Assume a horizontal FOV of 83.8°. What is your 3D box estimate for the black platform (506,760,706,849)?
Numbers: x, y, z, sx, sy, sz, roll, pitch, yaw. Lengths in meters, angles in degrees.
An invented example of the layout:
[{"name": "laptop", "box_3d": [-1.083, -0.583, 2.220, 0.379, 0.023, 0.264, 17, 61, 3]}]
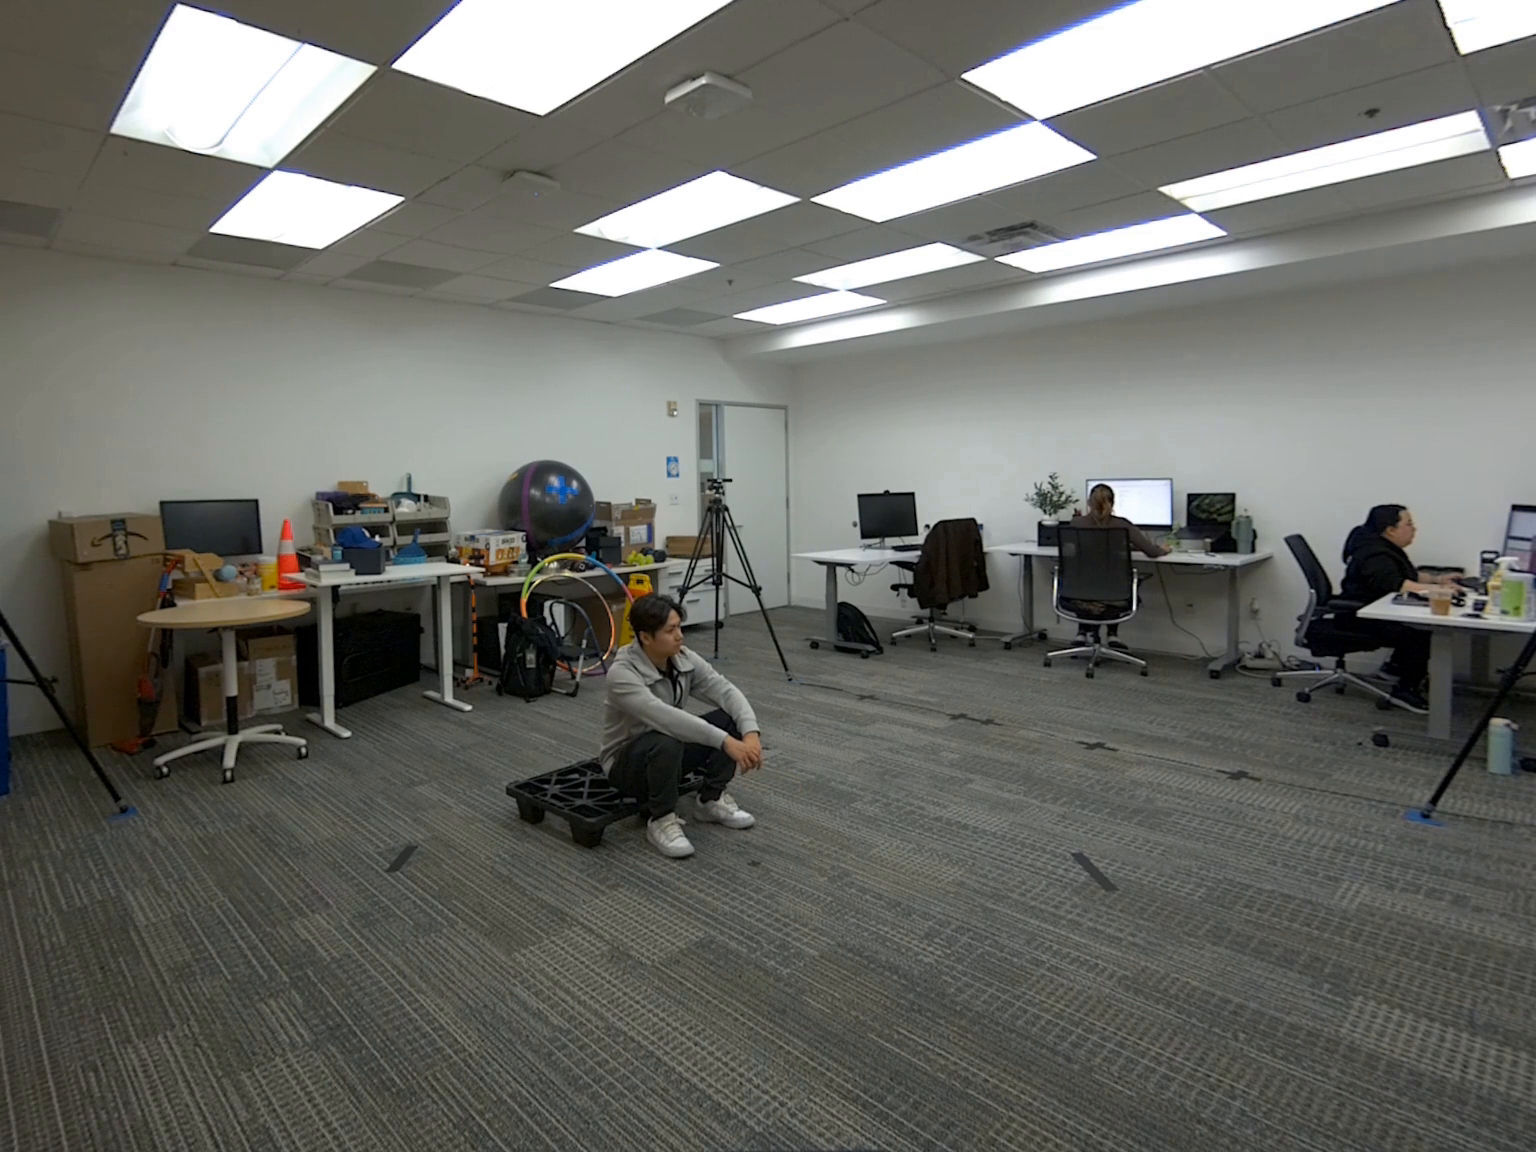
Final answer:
[{"name": "black platform", "box_3d": [-0.616, 0.926, 3.671, 0.624, 0.142, 0.785, 5, 9, 41]}]
